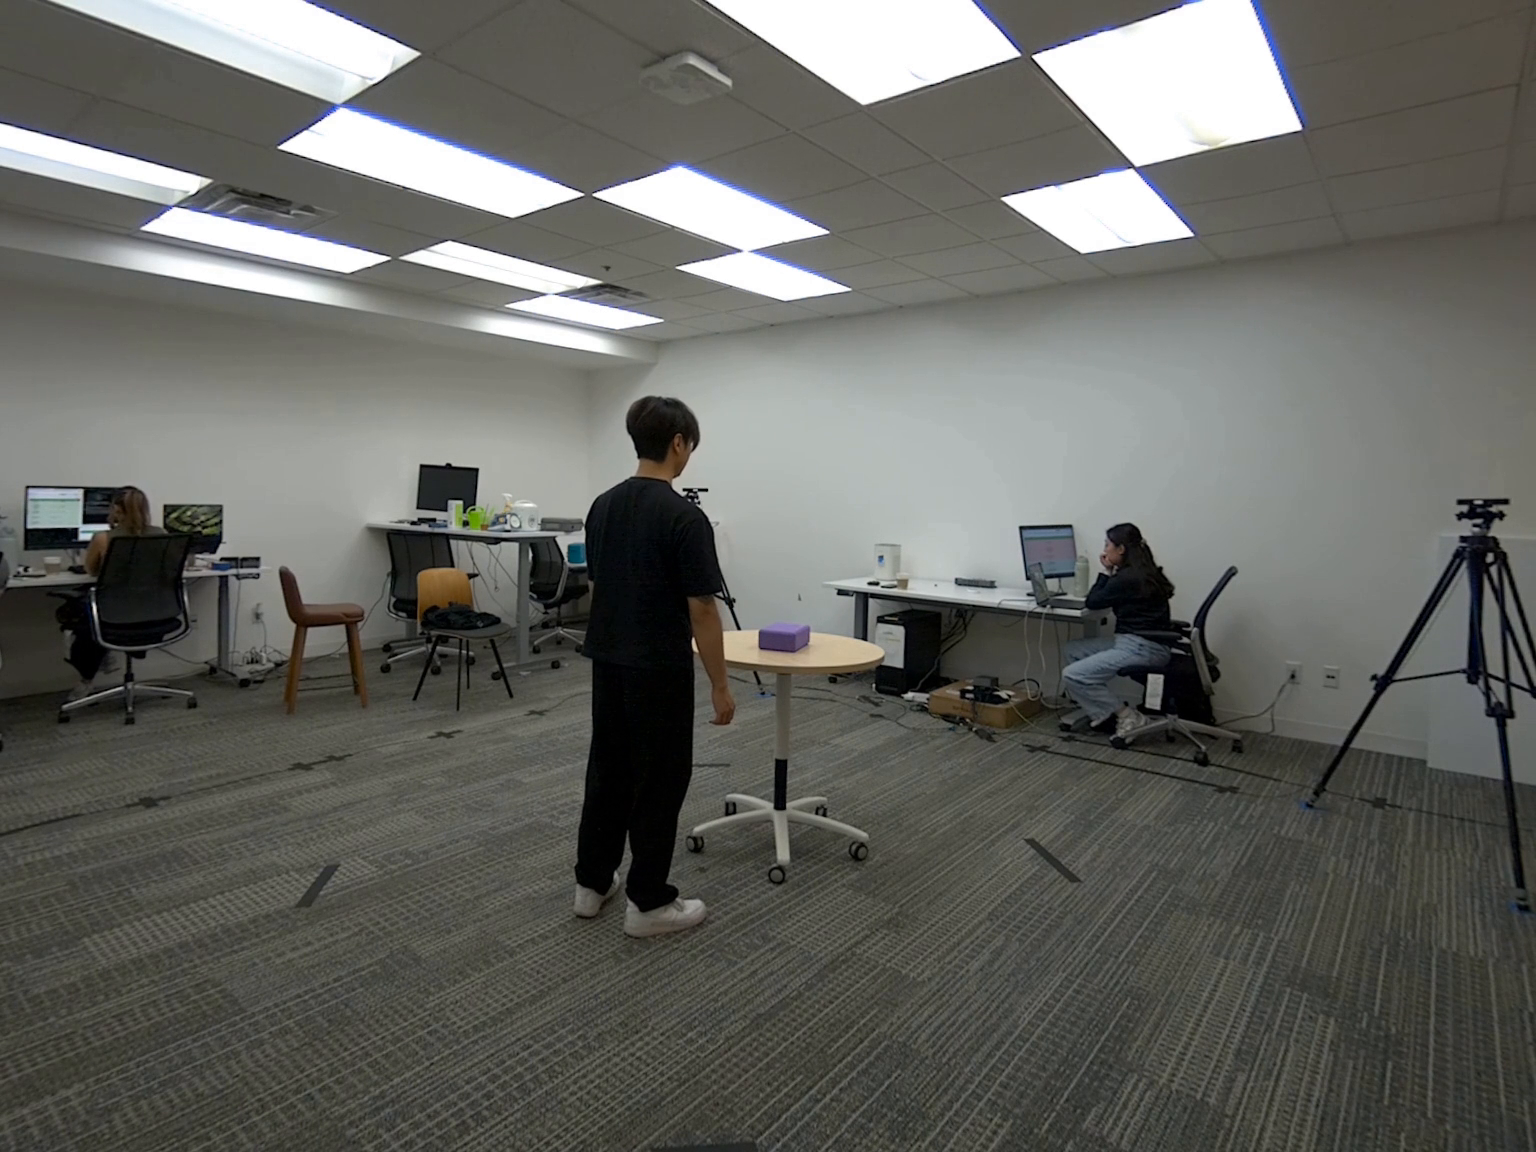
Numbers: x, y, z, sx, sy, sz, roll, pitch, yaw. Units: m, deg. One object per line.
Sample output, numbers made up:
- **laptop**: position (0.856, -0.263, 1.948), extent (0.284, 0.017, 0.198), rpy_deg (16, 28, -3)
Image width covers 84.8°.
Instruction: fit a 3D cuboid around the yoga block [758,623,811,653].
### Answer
- **yoga block**: position (0.058, 0.233, 3.315), extent (0.152, 0.076, 0.226), rpy_deg (3, 5, 16)
